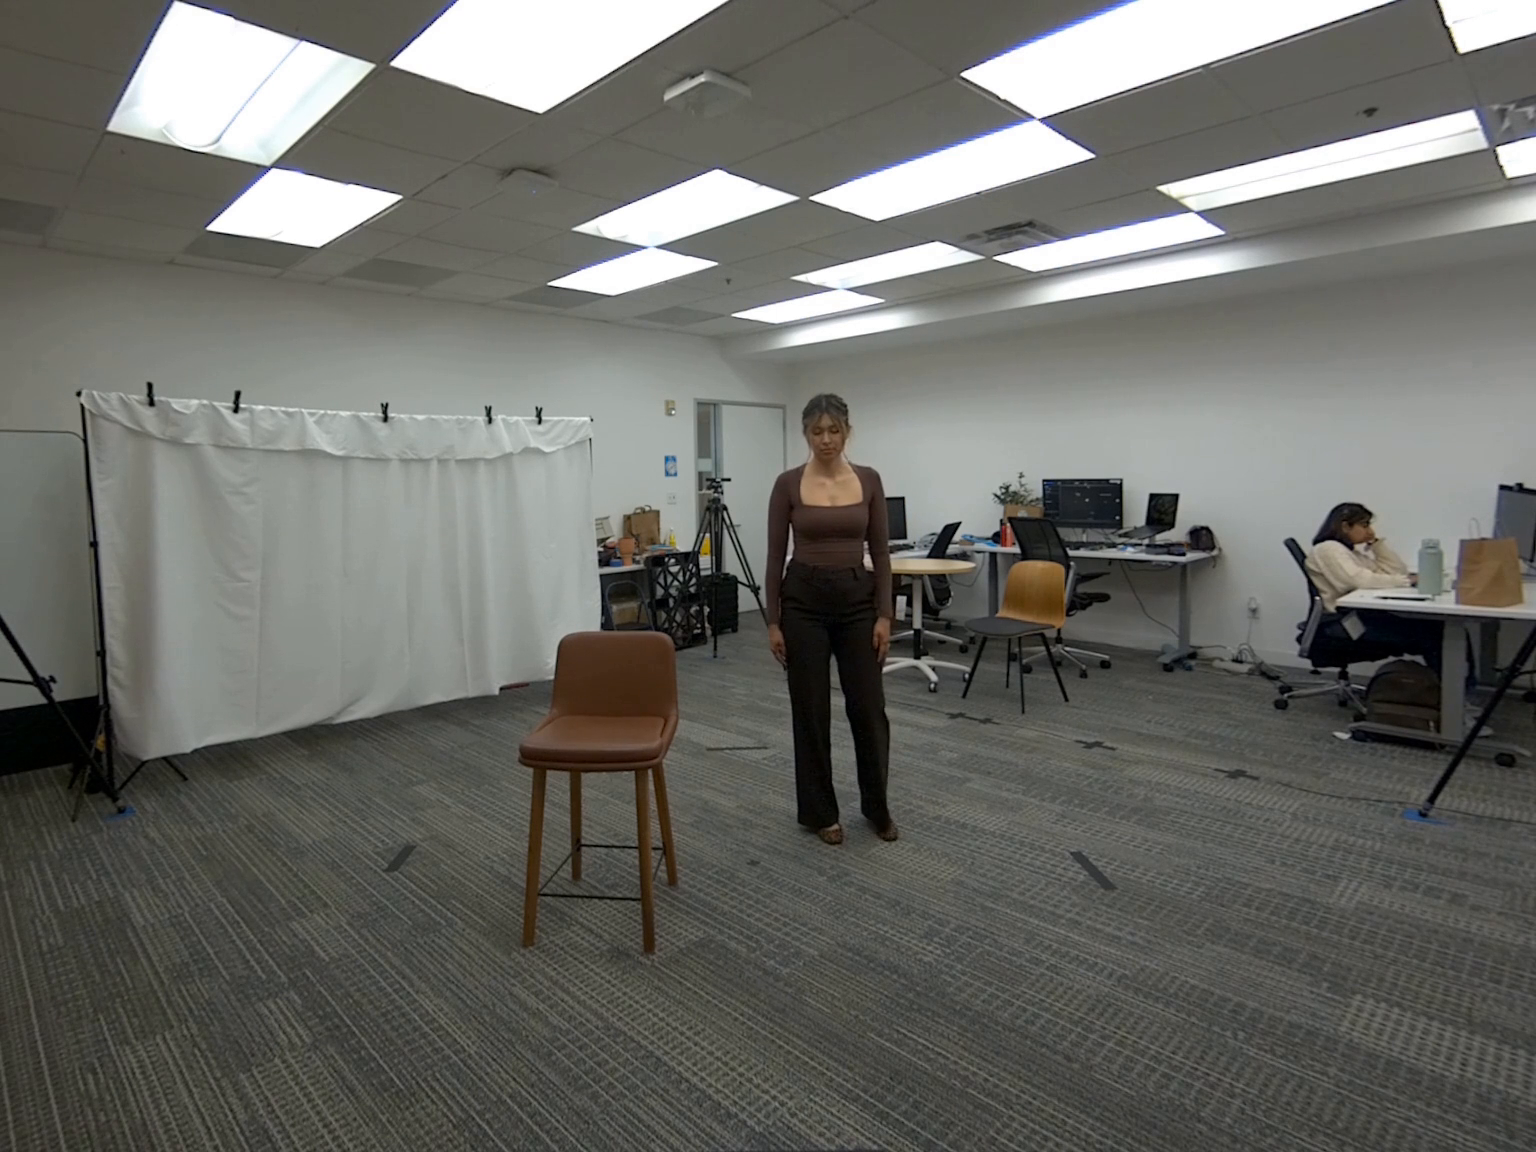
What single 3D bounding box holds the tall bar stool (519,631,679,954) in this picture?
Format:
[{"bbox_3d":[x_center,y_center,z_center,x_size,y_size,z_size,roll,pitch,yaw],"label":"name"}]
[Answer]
[{"bbox_3d":[-0.526,0.659,2.745,0.460,0.887,0.465,0,3,8],"label":"tall bar stool"}]
